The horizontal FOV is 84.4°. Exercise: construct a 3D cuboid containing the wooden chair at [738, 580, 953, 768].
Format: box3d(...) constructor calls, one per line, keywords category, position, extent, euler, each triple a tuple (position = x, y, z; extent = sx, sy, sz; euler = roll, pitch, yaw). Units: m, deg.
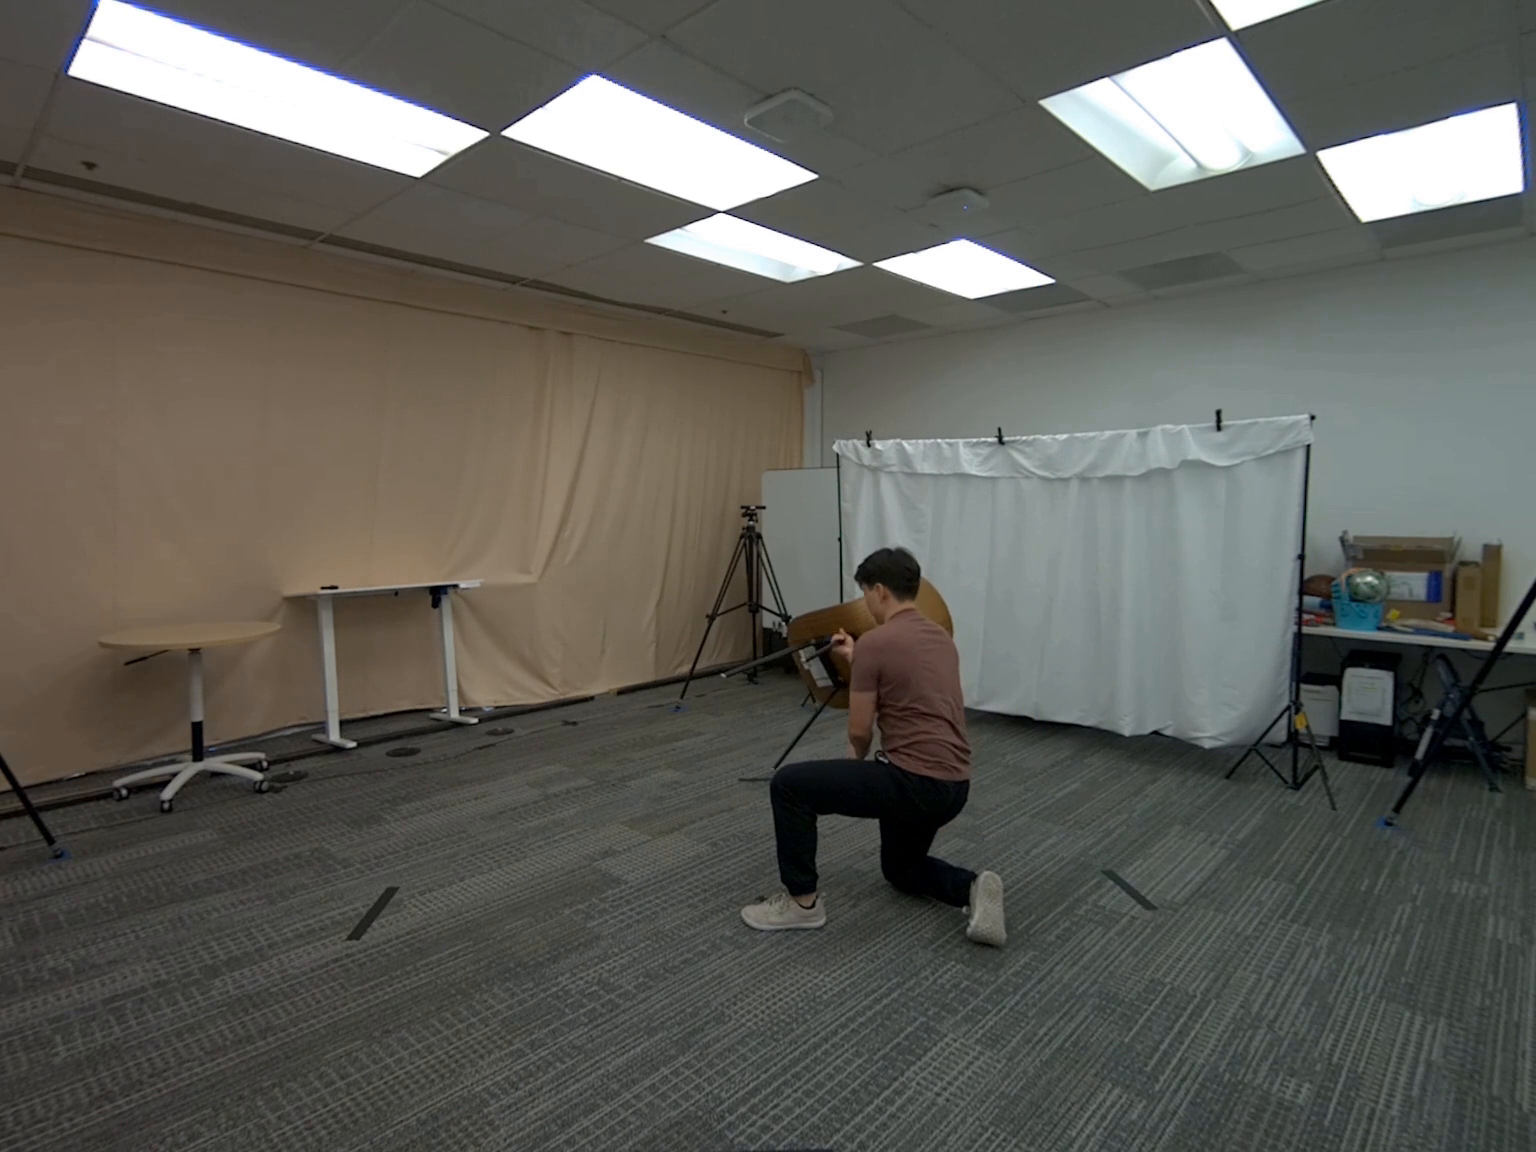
box3d(category="wooden chair", position=(0.318, 0.368, 3.478), extent=(0.864, 0.474, 0.536), euler=(-35, 11, -39))
